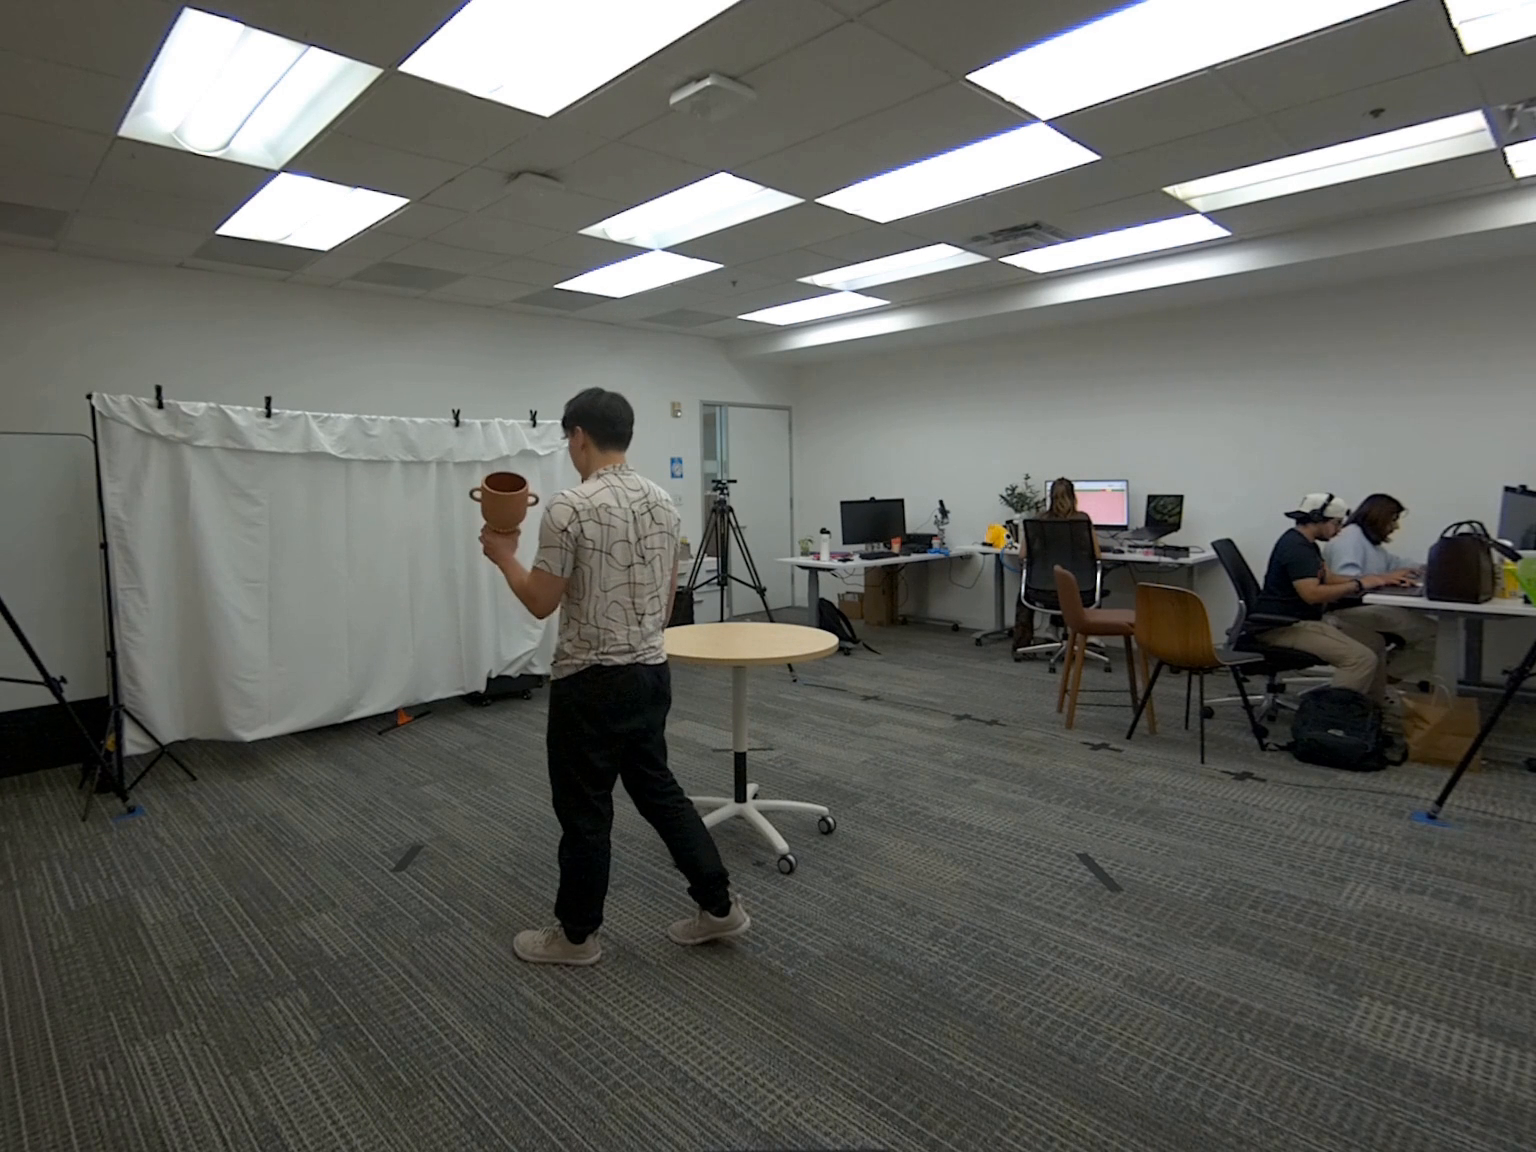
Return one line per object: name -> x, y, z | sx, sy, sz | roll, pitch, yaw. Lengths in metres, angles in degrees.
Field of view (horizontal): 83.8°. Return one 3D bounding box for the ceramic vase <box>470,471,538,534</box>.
ceramic vase -> -0.766, -0.181, 2.509 | 0.163, 0.216, 0.133 | 27, 36, 21
